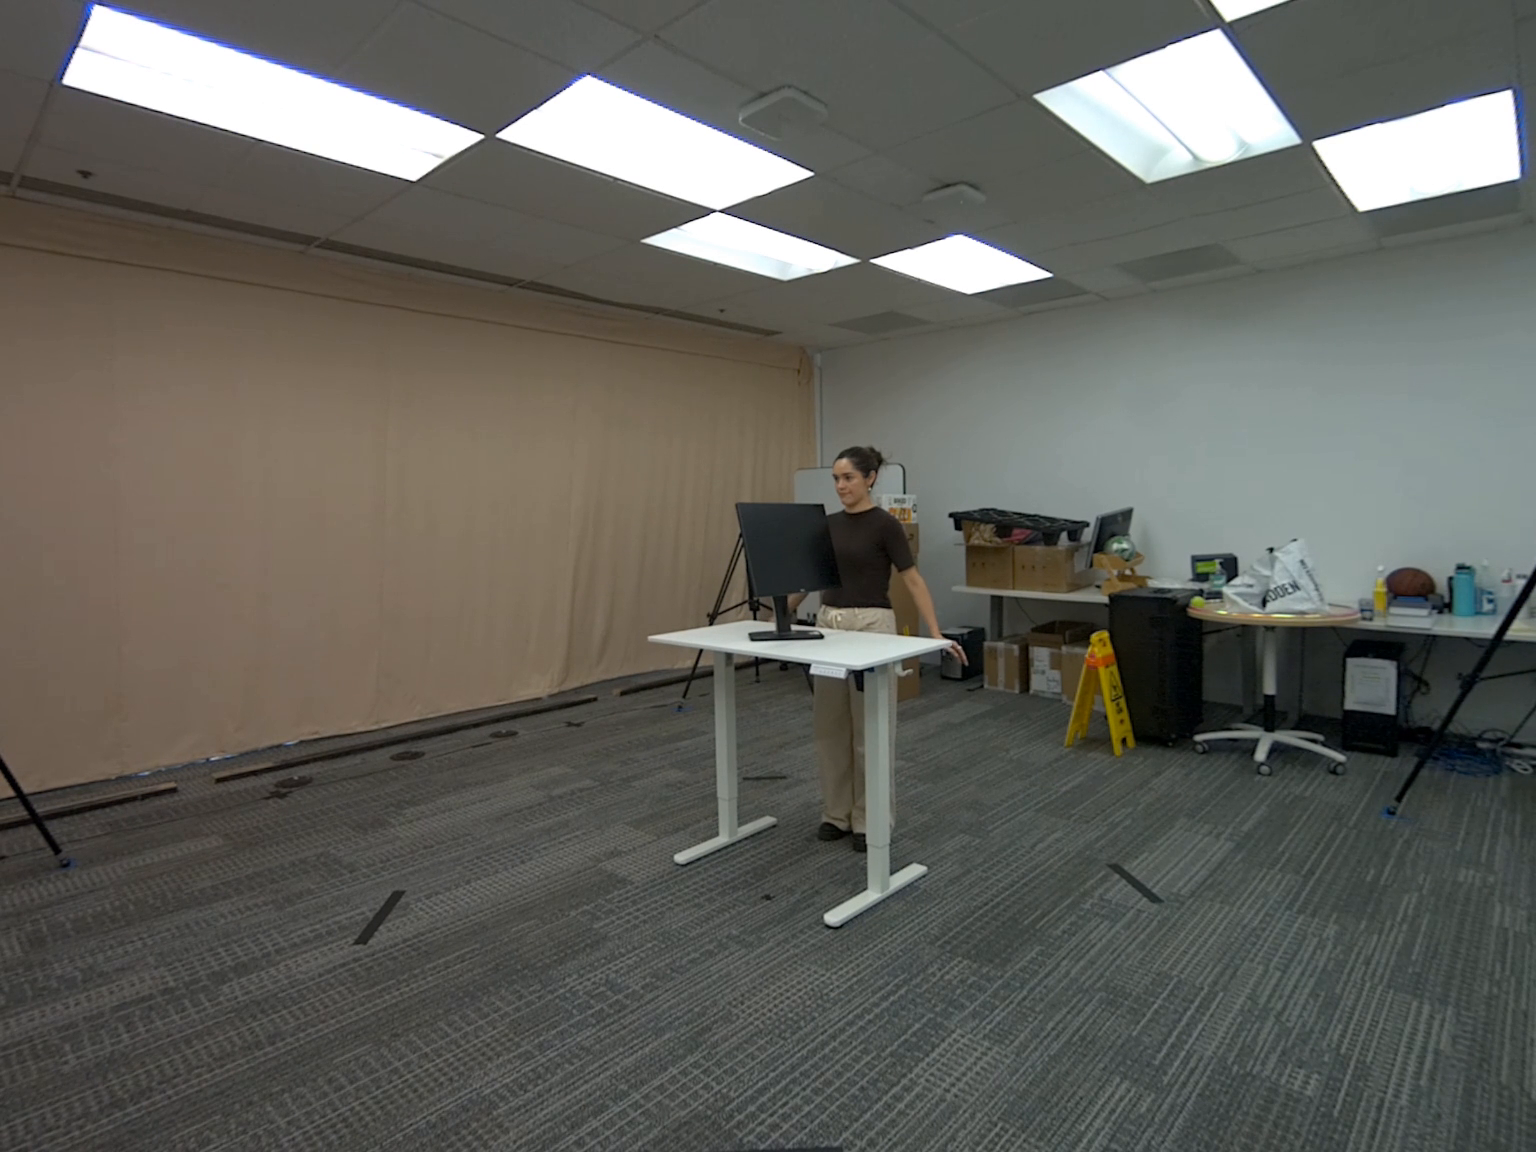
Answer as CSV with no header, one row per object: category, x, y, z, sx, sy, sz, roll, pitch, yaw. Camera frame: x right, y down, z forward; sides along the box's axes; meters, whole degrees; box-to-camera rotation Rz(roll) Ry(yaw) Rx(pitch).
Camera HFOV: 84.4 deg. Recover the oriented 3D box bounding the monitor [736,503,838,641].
monitor,0.078,-0.019,3.237,0.193,0.522,0.523,2,3,37
